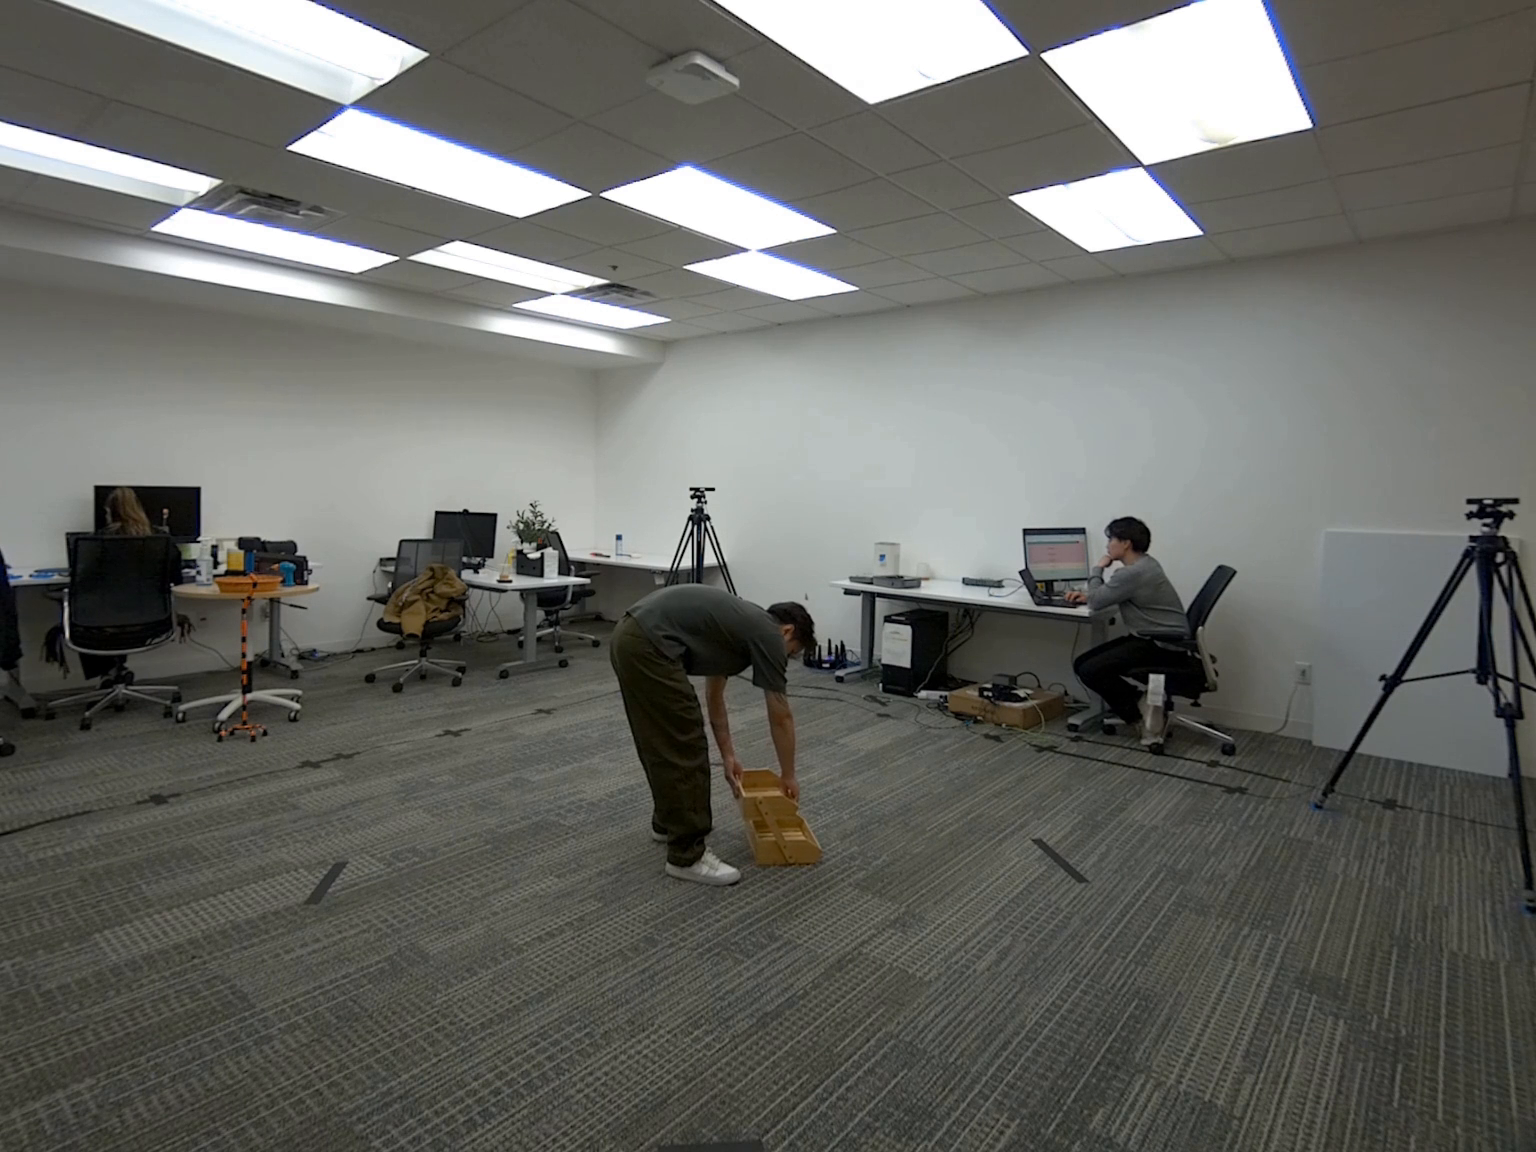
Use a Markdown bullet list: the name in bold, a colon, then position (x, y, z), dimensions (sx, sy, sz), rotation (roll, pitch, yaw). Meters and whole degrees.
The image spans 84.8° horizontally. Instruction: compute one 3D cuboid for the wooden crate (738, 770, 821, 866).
- **wooden crate**: position (0.030, 0.928, 3.280), dimensions (0.299, 0.272, 0.328), rotation (2, 4, -9)
